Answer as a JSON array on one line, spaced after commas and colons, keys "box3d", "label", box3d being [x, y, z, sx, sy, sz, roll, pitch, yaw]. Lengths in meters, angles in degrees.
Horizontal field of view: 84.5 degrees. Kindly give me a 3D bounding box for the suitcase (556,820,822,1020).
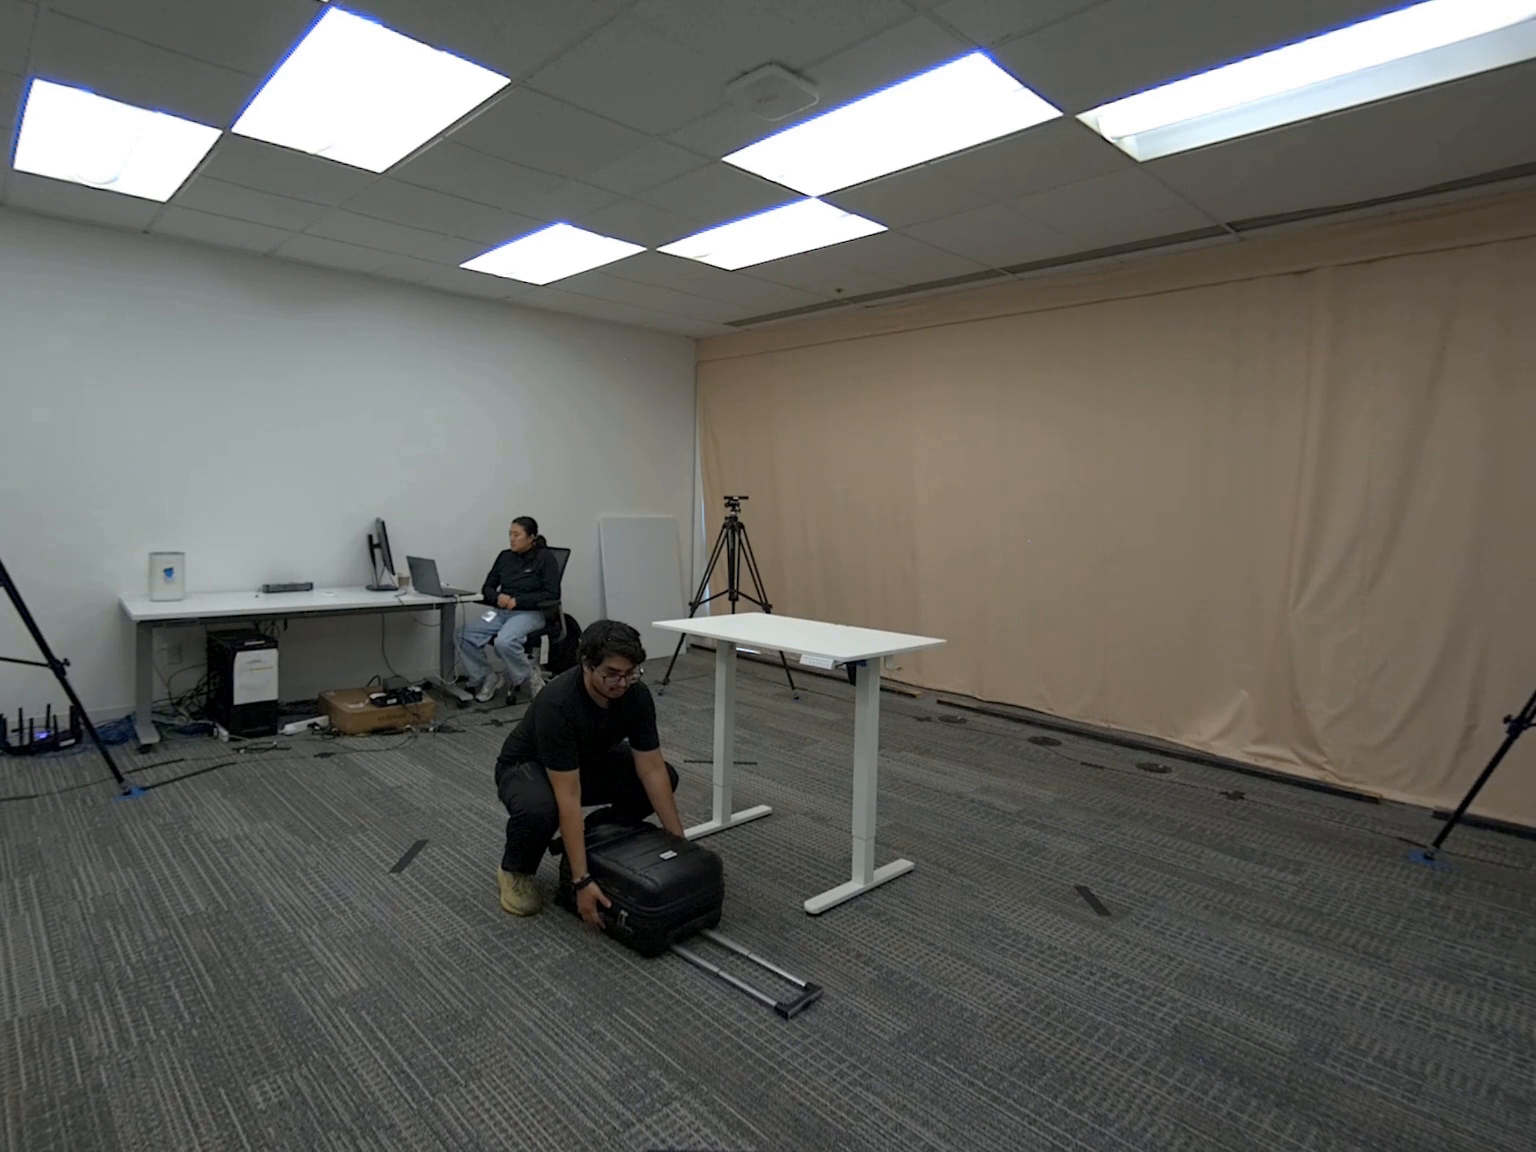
[{"box3d": [-0.269, 1.022, 2.615, 1.002, 0.257, 0.375, 3, 4, 41], "label": "suitcase"}]
